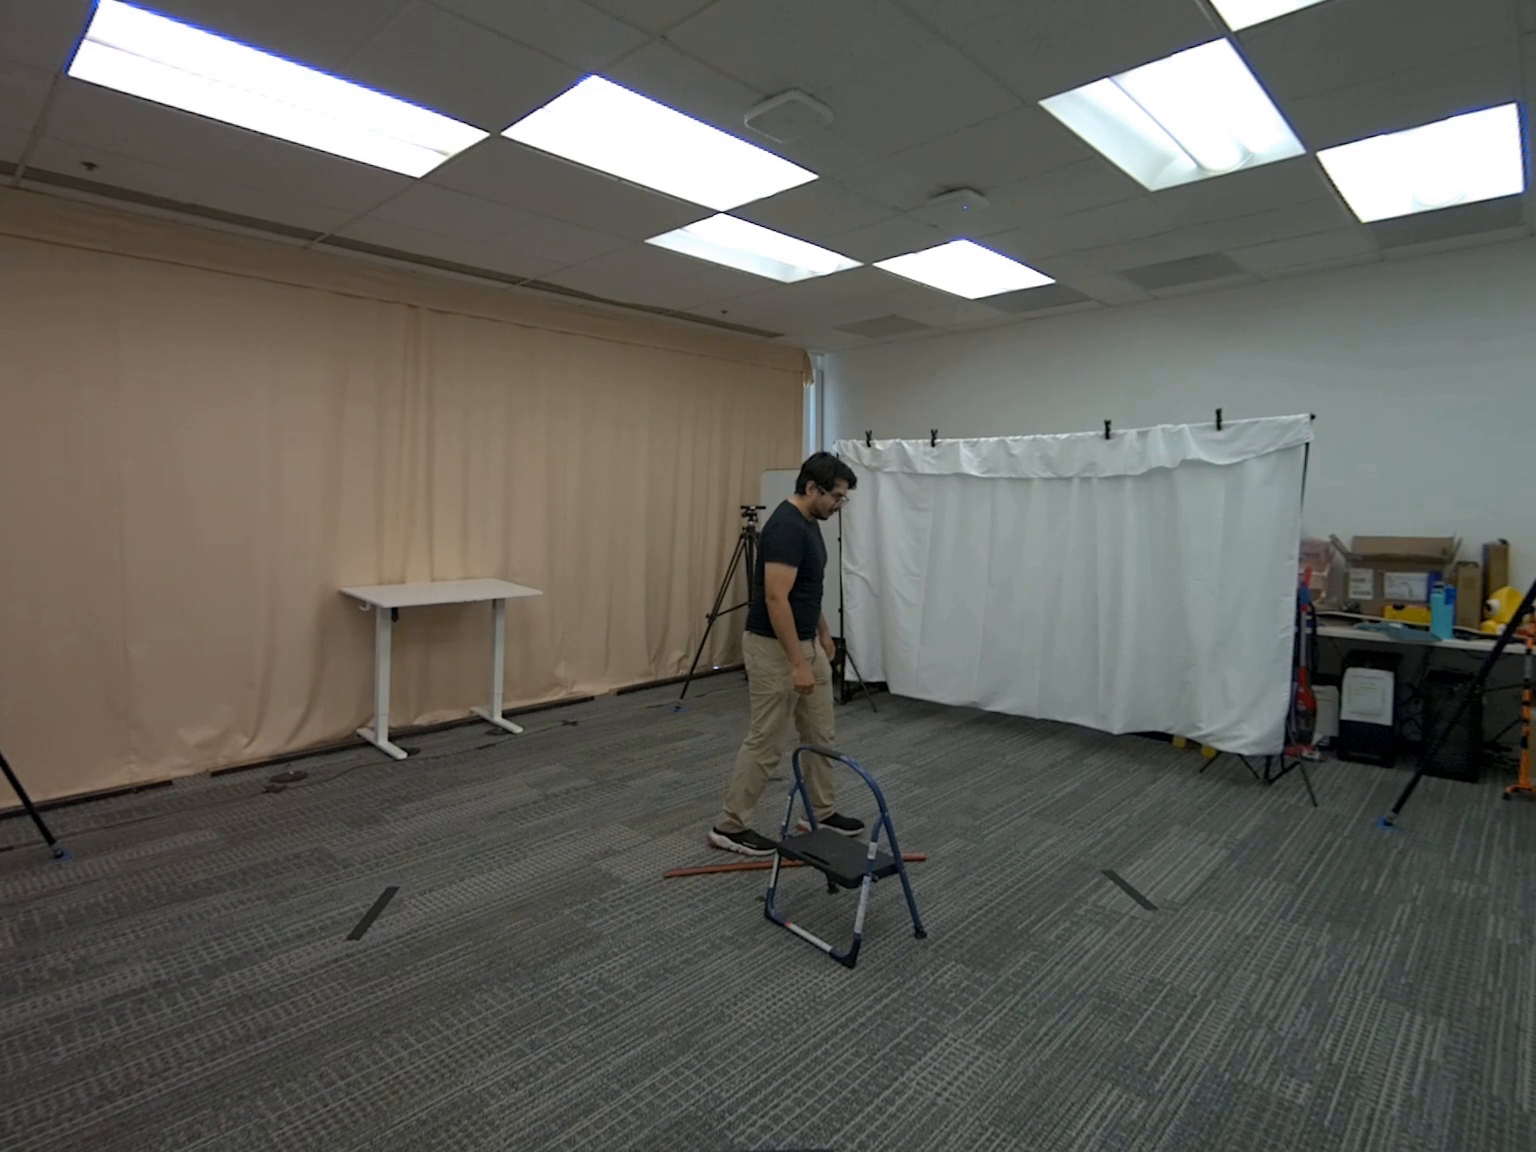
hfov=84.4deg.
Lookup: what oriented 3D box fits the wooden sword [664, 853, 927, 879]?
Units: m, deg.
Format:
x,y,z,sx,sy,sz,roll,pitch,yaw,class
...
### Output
x,y,z,sx,sy,sz,roll,pitch,yaw,class
0.110,1.100,3.243,1.016,0.024,0.052,-1,4,-7,wooden sword
